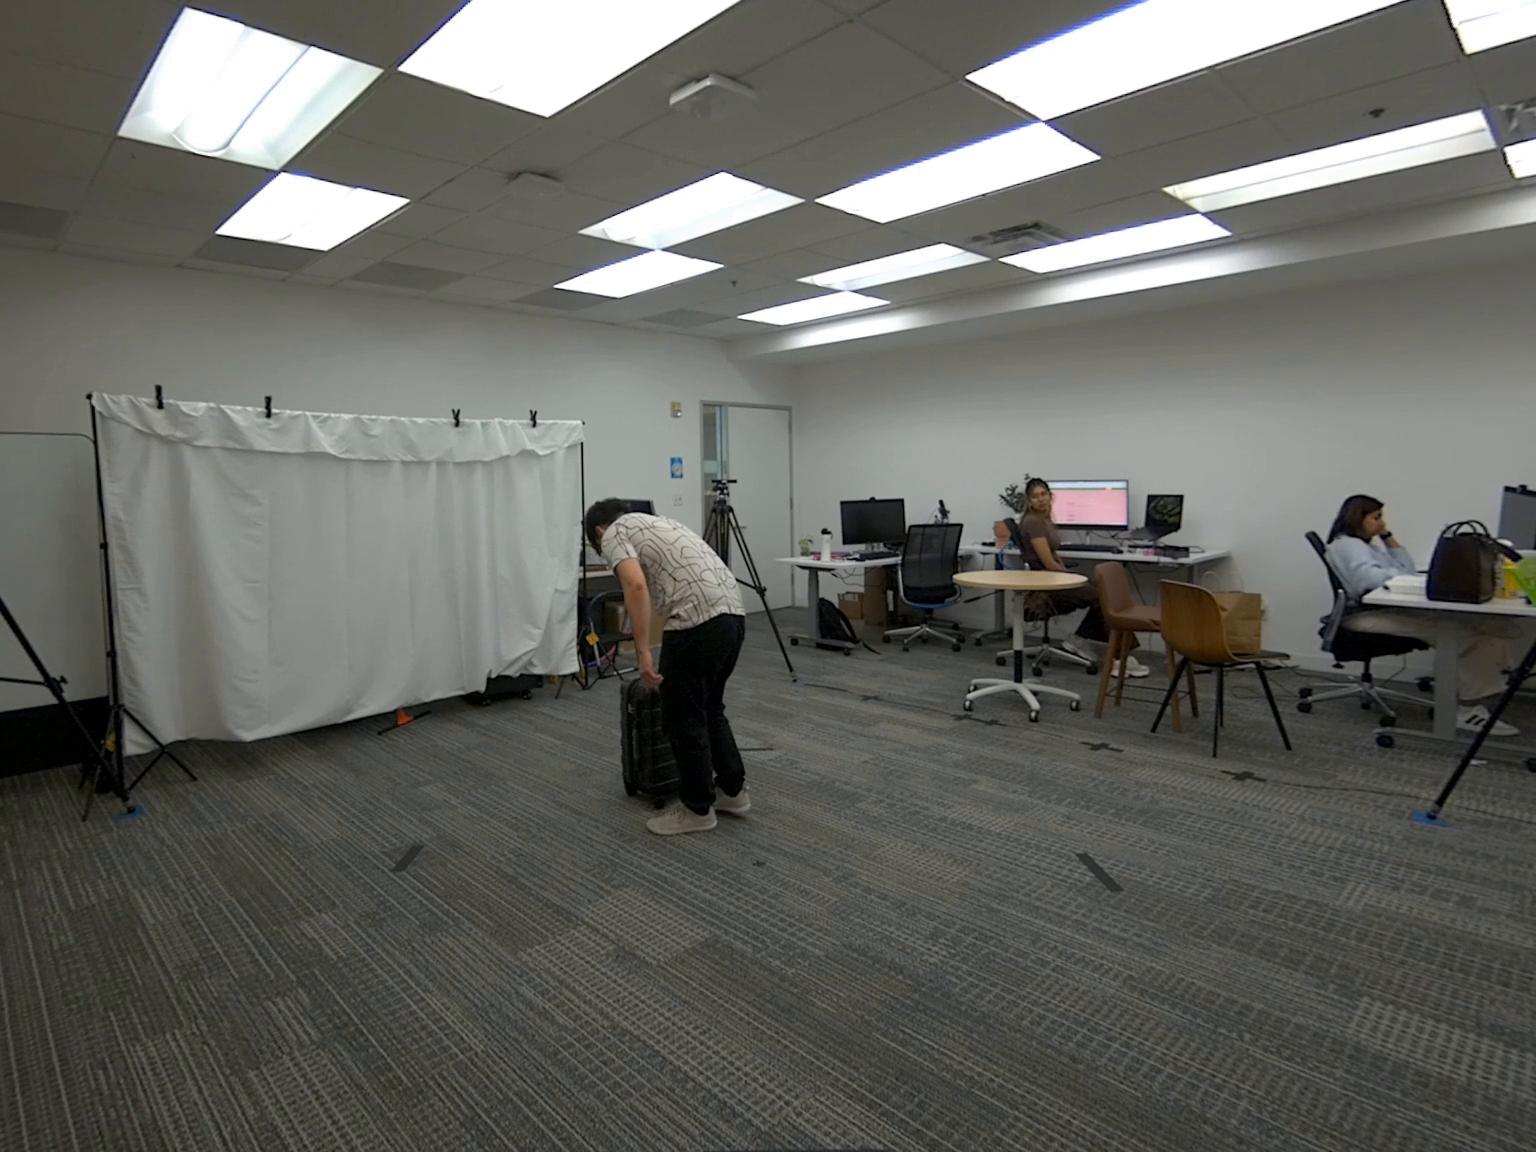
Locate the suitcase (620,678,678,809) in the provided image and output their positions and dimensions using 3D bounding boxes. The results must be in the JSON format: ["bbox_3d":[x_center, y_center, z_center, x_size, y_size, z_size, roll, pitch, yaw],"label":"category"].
[{"bbox_3d":[-0.467,0.702,3.826,0.366,0.548,0.255,-6,4,-37],"label":"suitcase"}]
